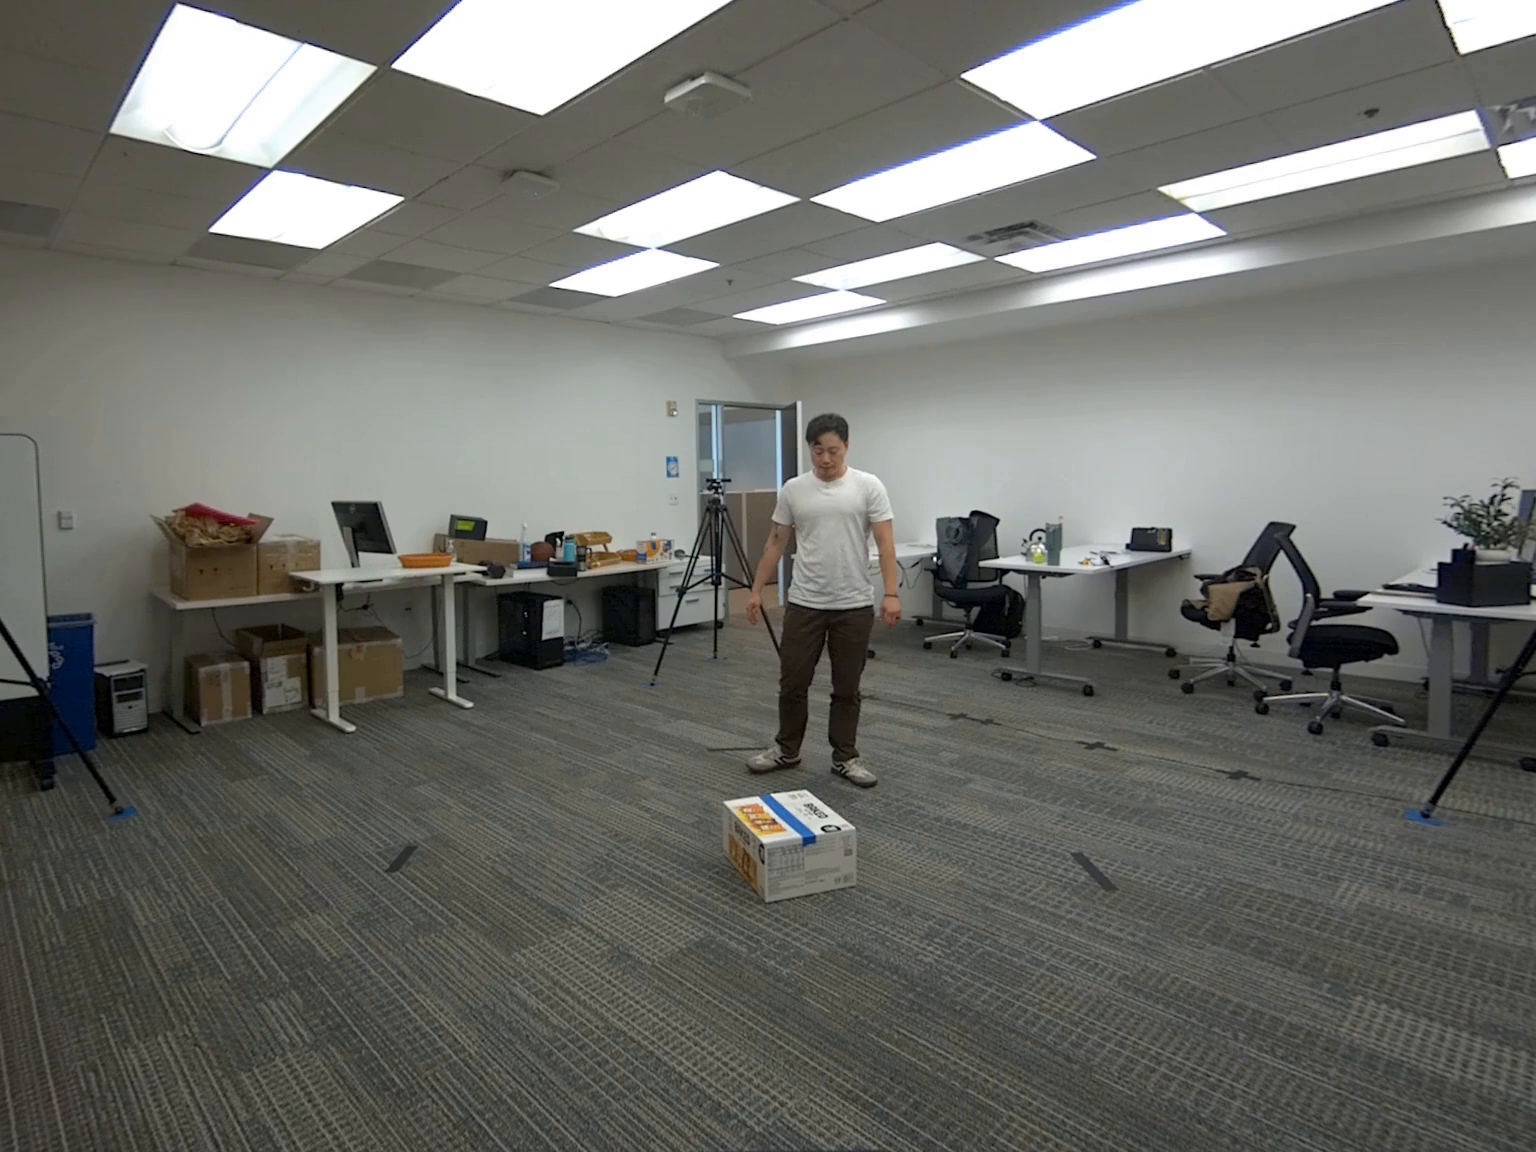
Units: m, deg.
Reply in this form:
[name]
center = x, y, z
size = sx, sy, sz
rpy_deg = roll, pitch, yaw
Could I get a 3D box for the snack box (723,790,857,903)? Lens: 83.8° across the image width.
[snack box]
center = 0.068, 0.949, 3.041
size = 0.334, 0.205, 0.414
rpy_deg = -3, 6, -21
